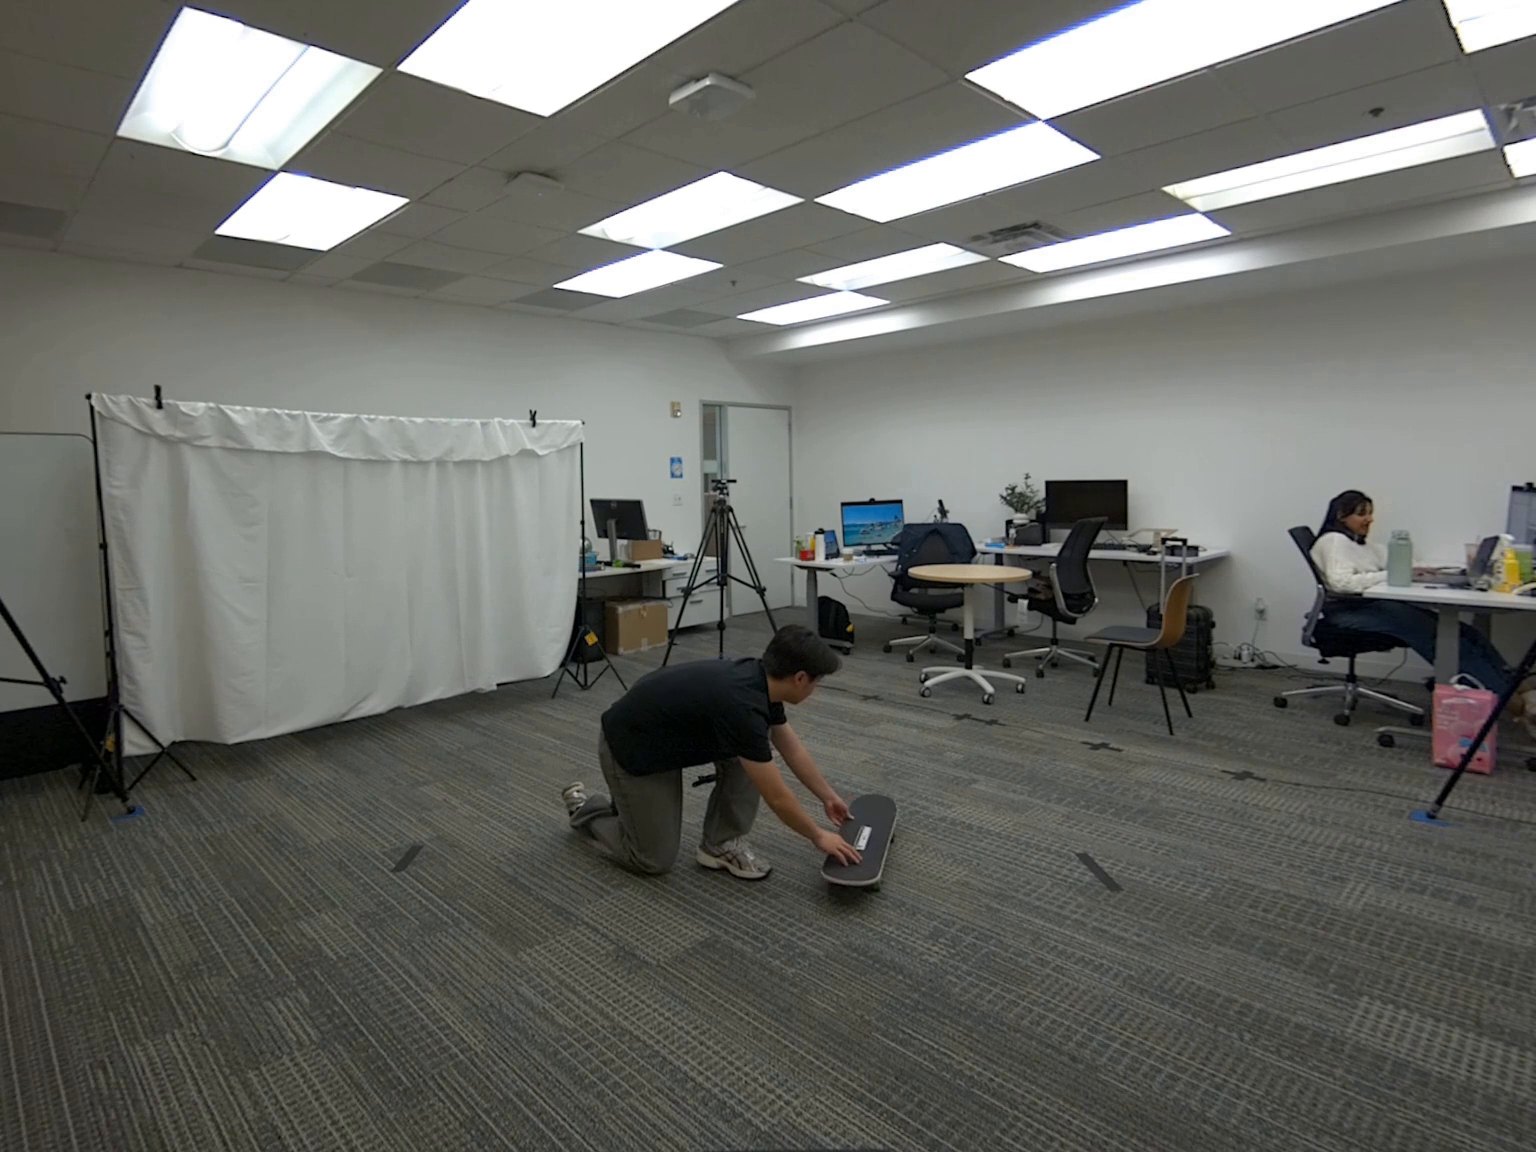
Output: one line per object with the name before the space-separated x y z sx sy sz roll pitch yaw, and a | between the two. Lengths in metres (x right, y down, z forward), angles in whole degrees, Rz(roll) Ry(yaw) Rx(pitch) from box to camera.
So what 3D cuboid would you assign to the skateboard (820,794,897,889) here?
skateboard | 0.339 0.970 3.107 0.196 0.110 0.777 0 7 15
